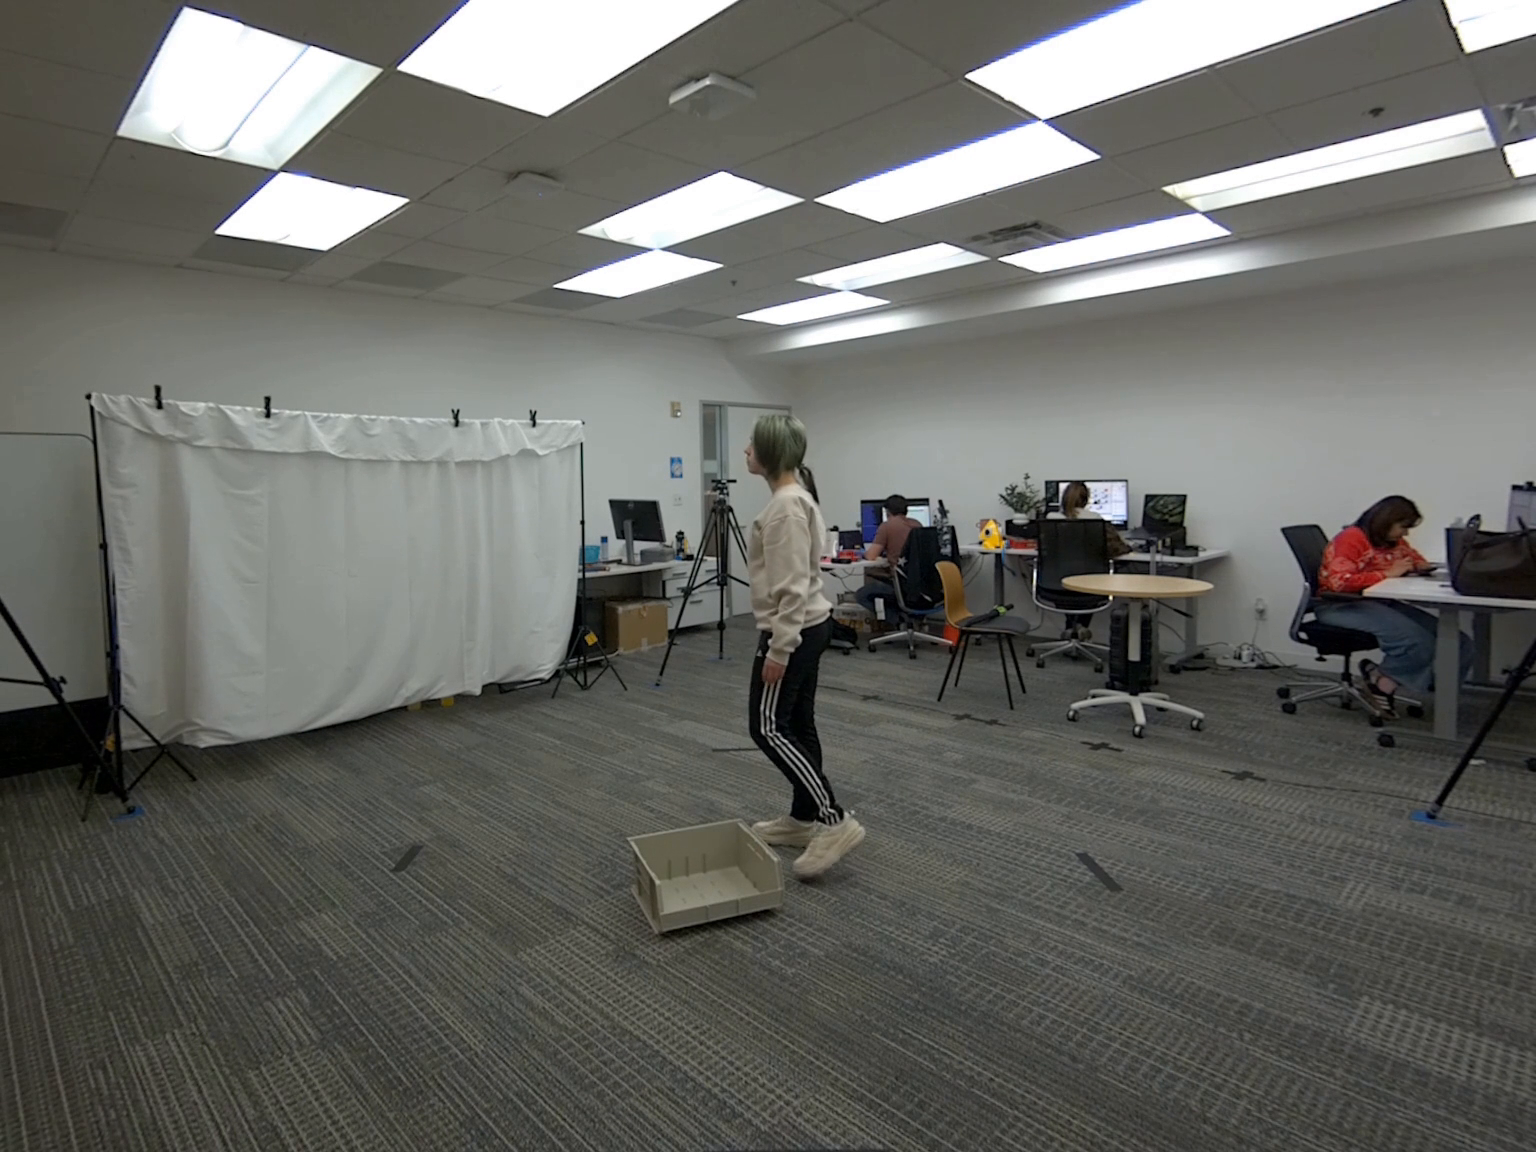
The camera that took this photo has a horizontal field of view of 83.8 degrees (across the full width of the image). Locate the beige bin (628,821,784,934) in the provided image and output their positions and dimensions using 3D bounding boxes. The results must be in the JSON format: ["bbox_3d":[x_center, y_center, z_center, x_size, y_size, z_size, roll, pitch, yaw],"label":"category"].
[{"bbox_3d":[-0.209,0.994,2.823,0.414,0.188,0.386,-4,6,-22],"label":"beige bin"}]
